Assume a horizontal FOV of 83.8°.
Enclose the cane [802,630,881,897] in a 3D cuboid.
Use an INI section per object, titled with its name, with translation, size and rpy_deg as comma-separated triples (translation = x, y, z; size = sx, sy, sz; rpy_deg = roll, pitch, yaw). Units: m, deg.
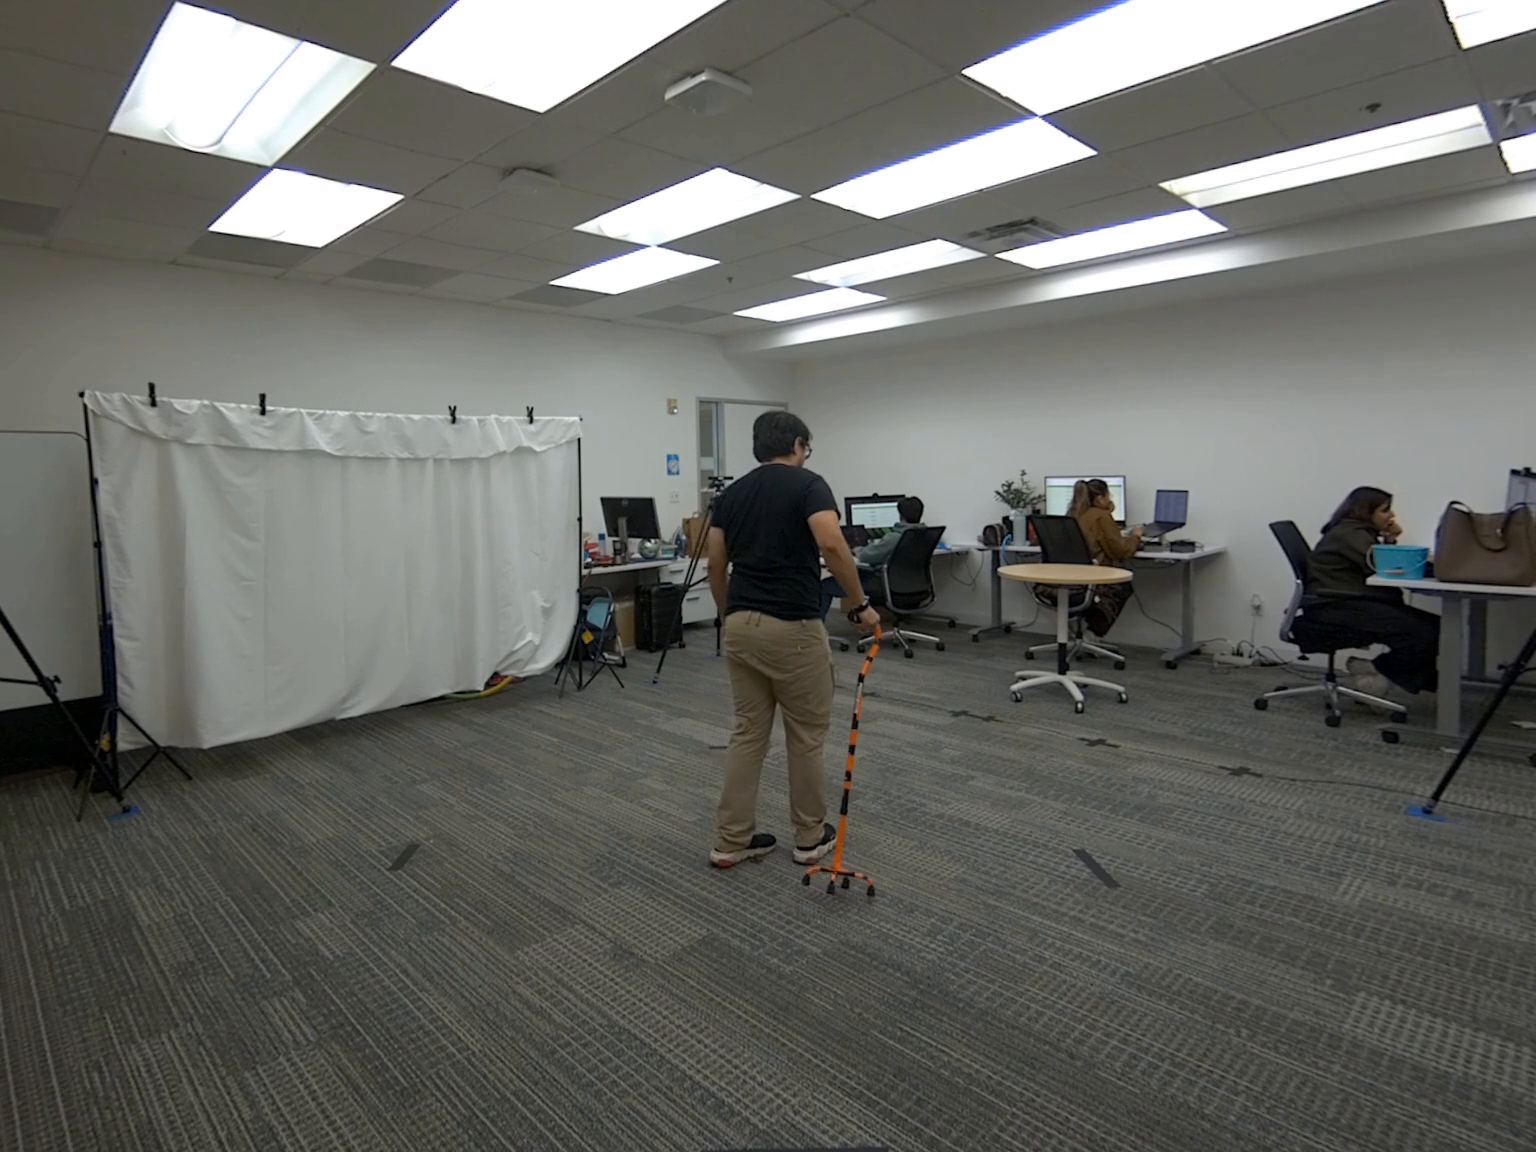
[cane]
translation = 0.309, 0.599, 2.891
size = 0.200, 0.916, 0.155
rpy_deg = 18, -15, -34
